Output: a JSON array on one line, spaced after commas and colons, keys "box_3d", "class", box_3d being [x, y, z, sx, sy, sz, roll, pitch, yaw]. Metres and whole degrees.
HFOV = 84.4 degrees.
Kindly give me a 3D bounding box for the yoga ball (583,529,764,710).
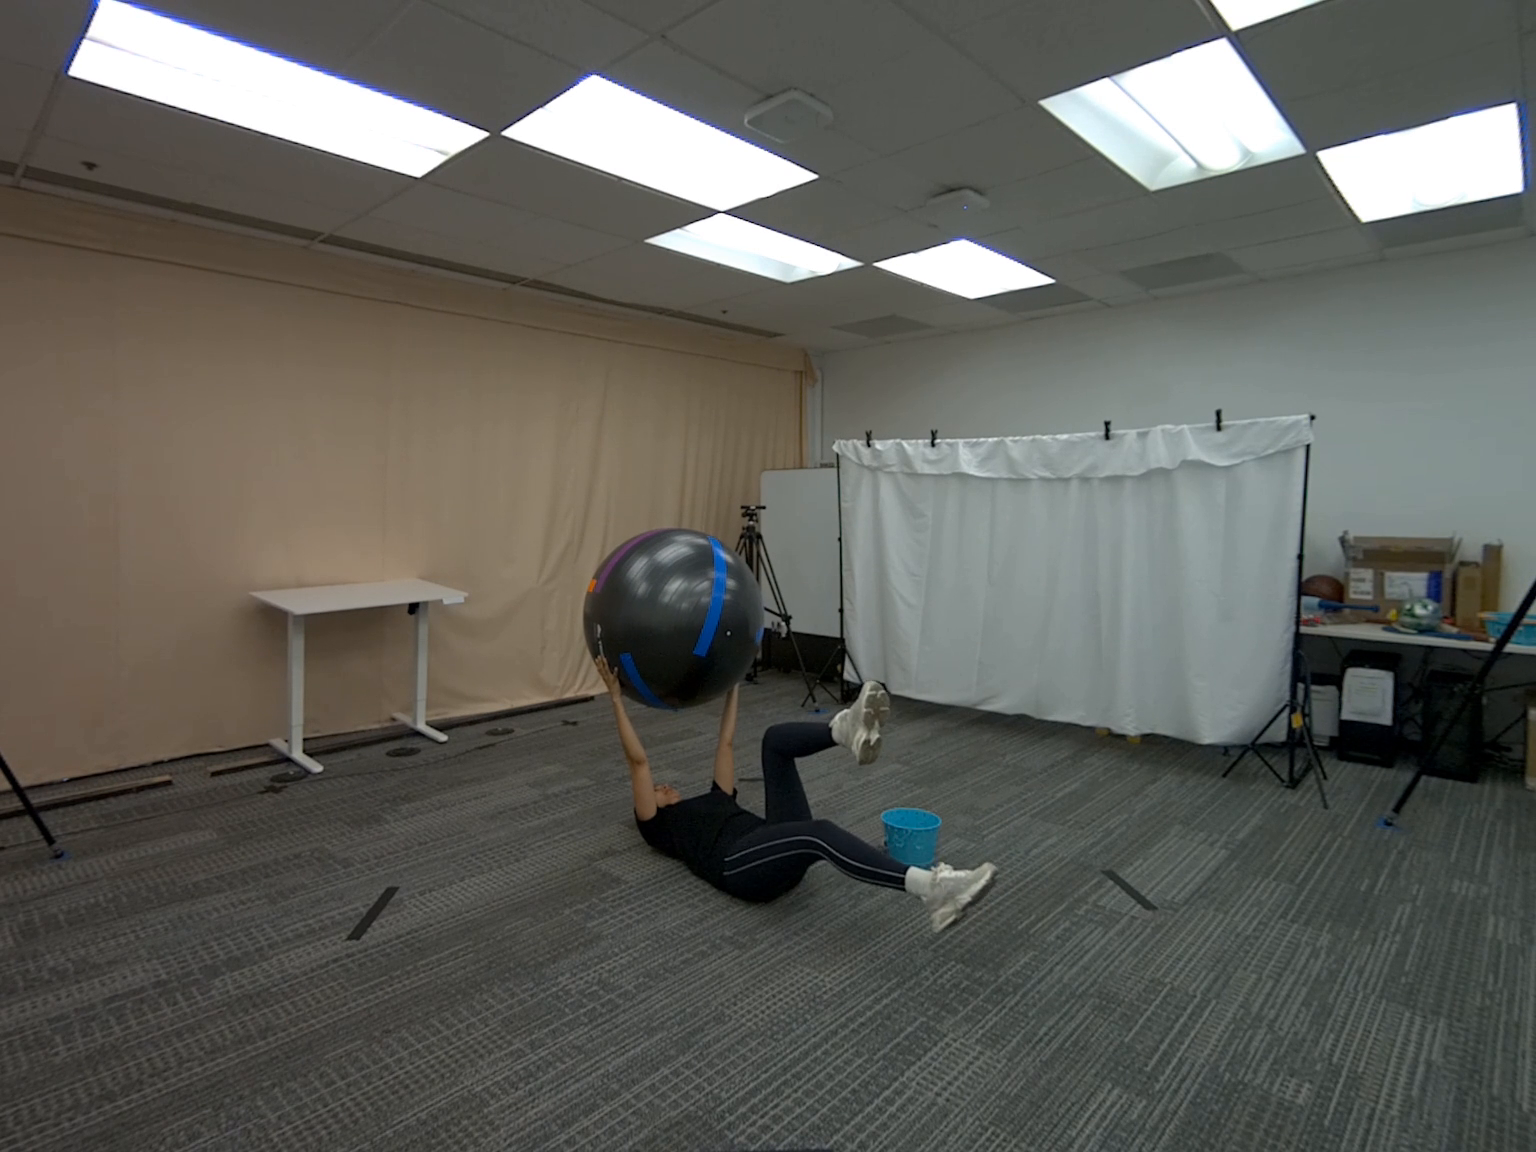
[{"box_3d": [-0.394, 0.179, 3.533, 0.757, 0.756, 0.761, 3, 5, -2], "class": "yoga ball"}]
